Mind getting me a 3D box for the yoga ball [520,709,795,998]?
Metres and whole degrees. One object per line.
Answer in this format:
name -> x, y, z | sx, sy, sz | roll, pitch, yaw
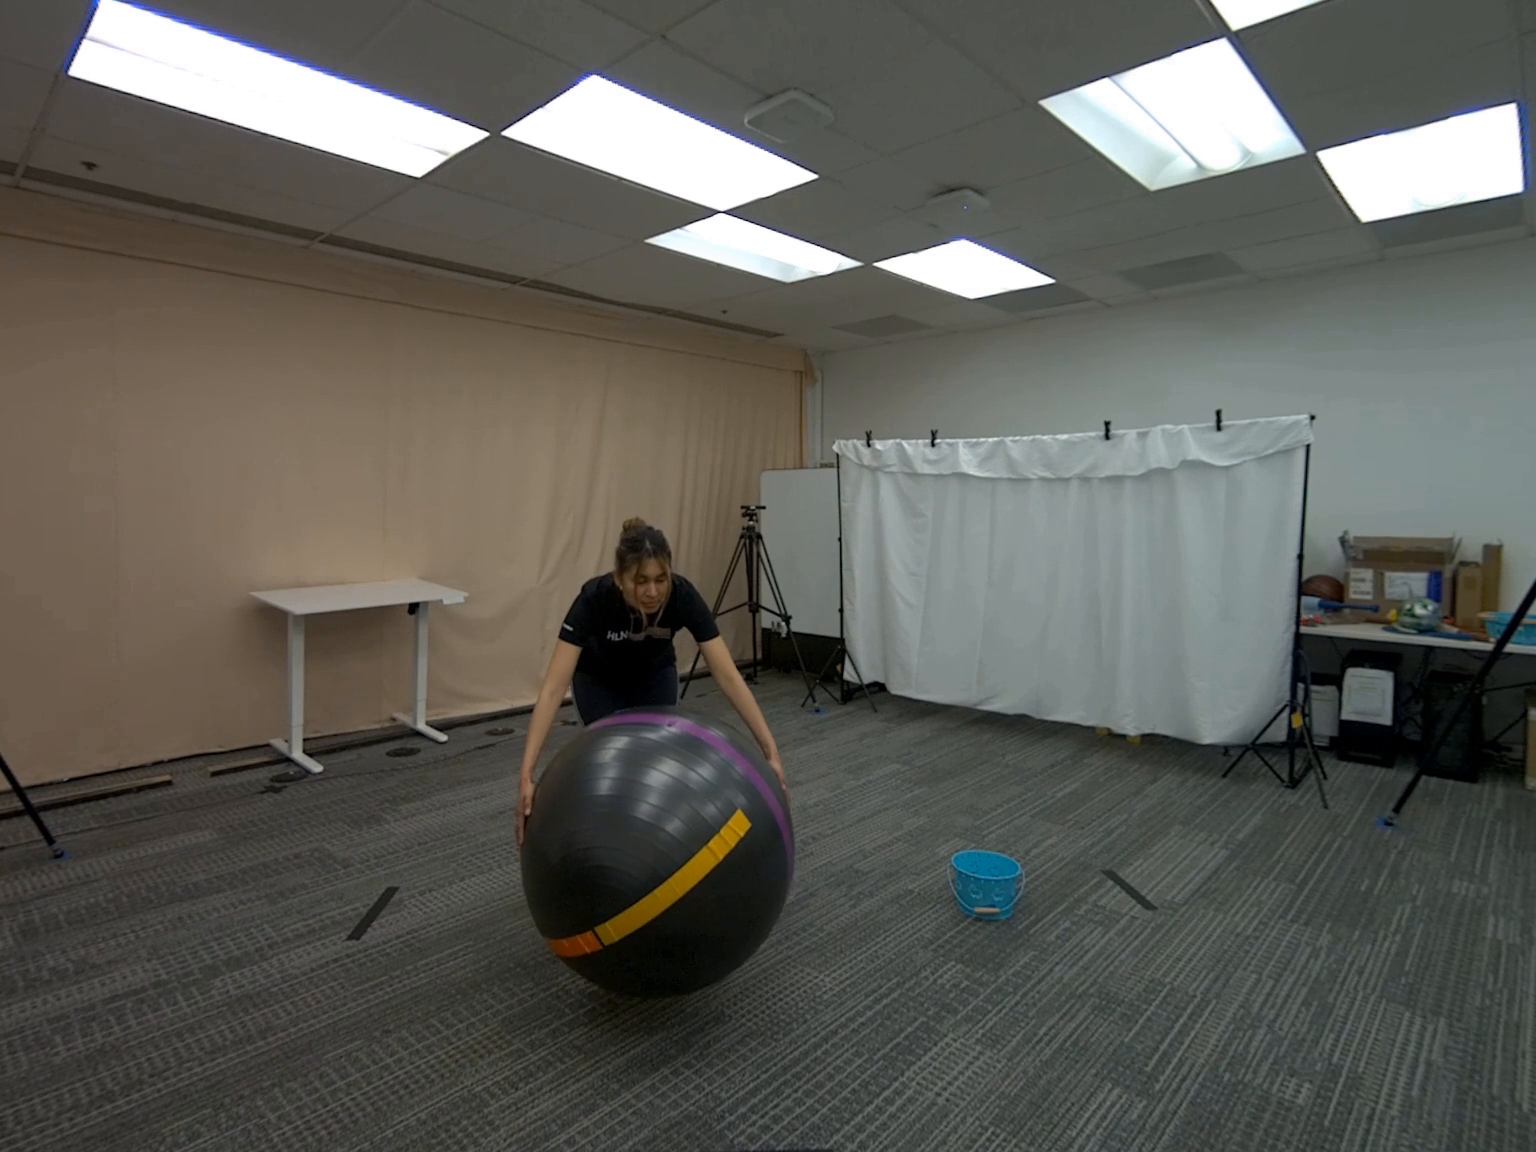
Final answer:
yoga ball -> -0.302, 0.744, 2.326 | 0.757, 0.756, 0.761 | 0, 4, -2
